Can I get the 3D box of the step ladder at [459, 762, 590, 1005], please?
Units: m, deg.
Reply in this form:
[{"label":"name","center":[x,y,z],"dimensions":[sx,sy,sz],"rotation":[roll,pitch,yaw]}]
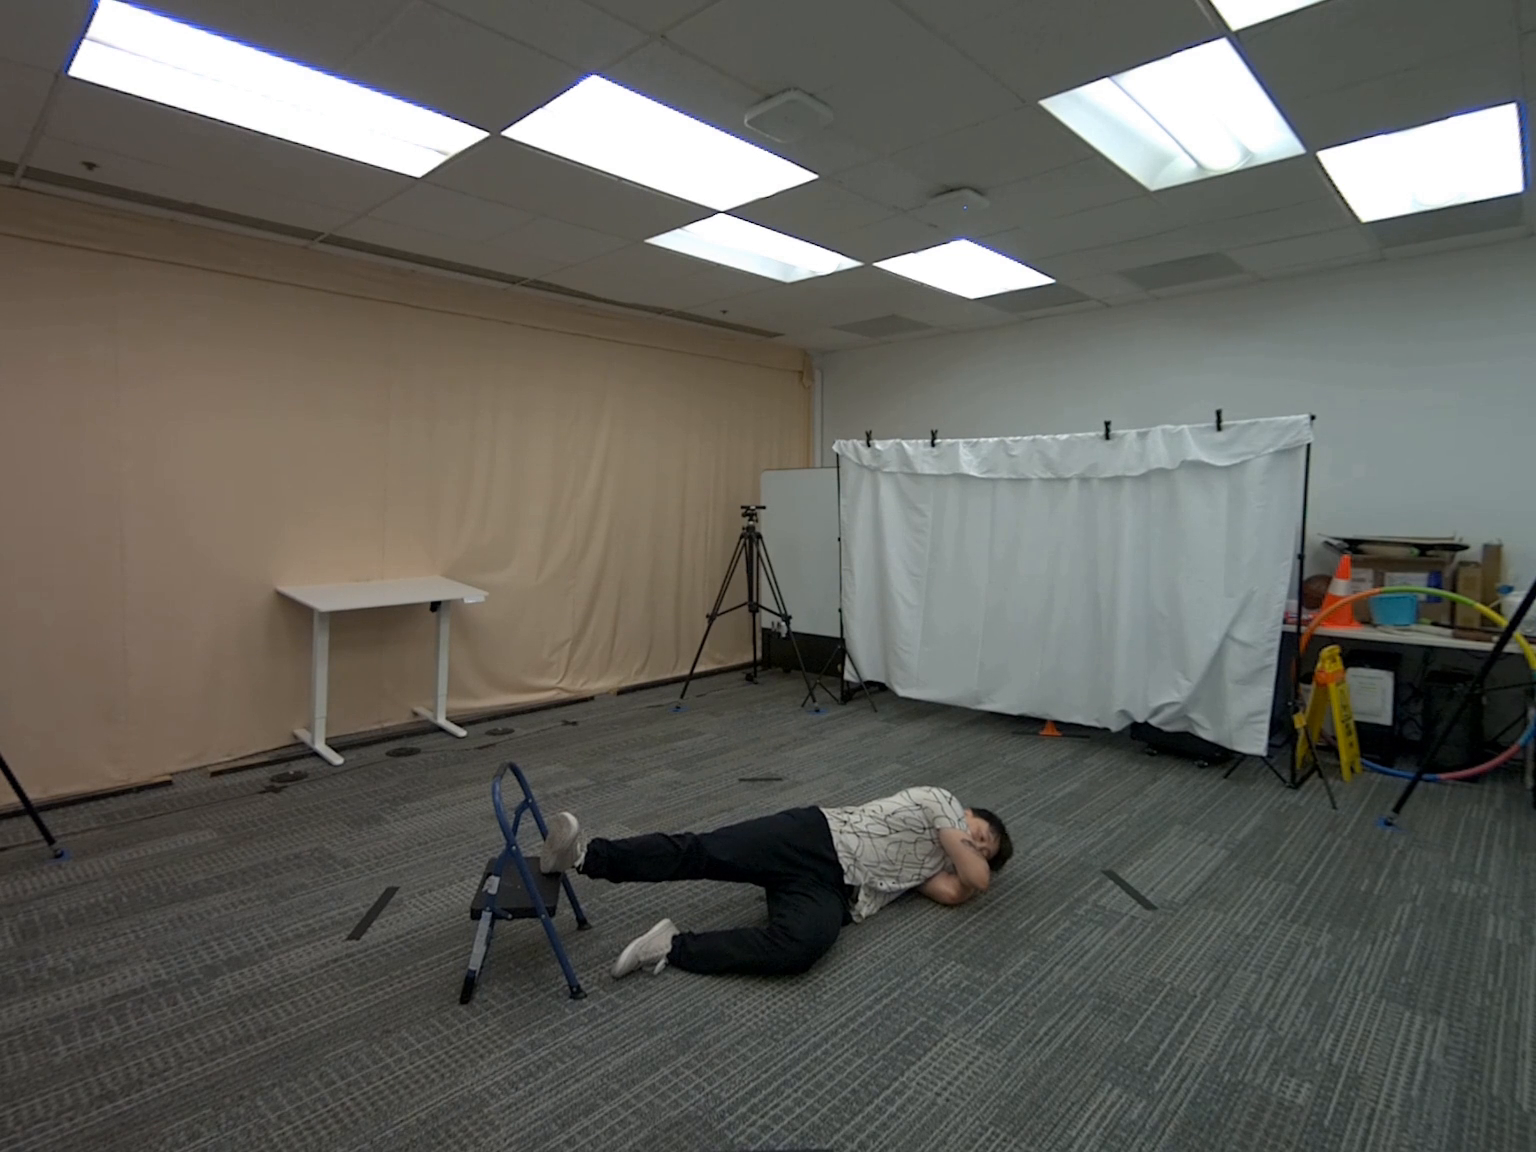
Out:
[{"label":"step ladder","center":[-0.734,0.889,2.555],"dimensions":[0.346,0.605,0.435],"rotation":[0,3,-10]}]
